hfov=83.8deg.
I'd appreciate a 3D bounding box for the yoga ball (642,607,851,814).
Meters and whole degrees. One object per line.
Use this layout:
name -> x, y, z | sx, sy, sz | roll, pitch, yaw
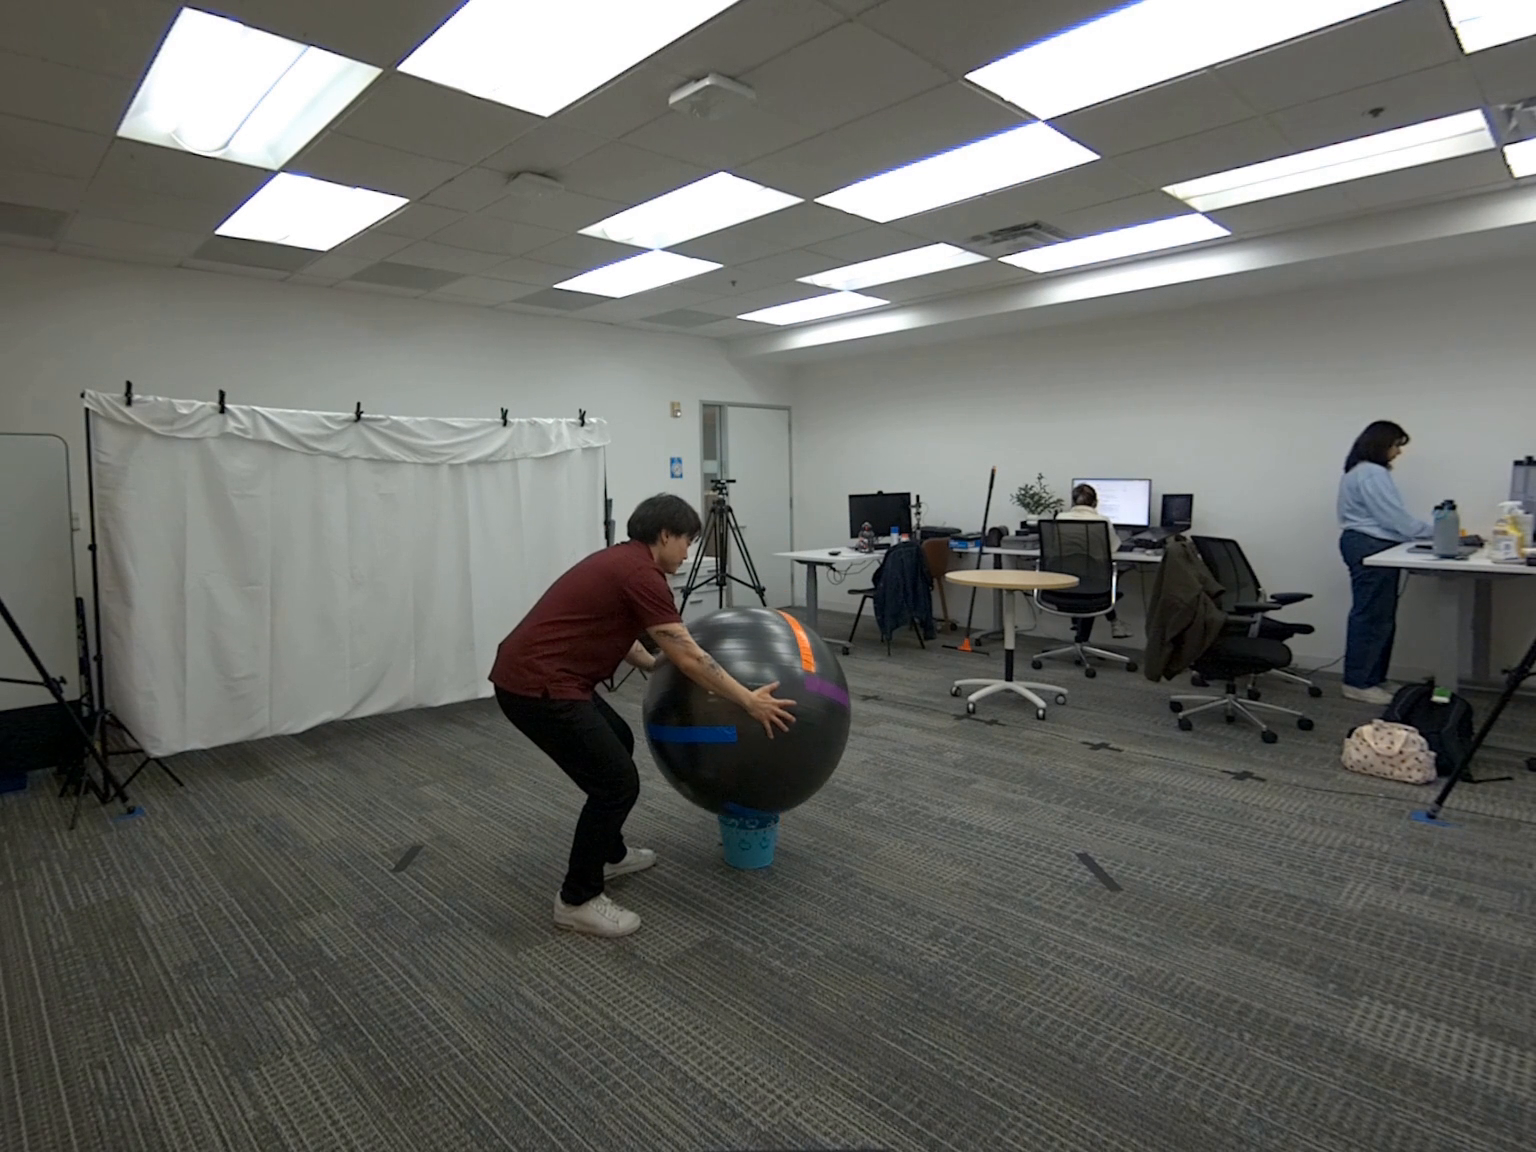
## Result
yoga ball -> -0.077, 0.490, 3.123 | 0.757, 0.755, 0.762 | -1, 5, -2
